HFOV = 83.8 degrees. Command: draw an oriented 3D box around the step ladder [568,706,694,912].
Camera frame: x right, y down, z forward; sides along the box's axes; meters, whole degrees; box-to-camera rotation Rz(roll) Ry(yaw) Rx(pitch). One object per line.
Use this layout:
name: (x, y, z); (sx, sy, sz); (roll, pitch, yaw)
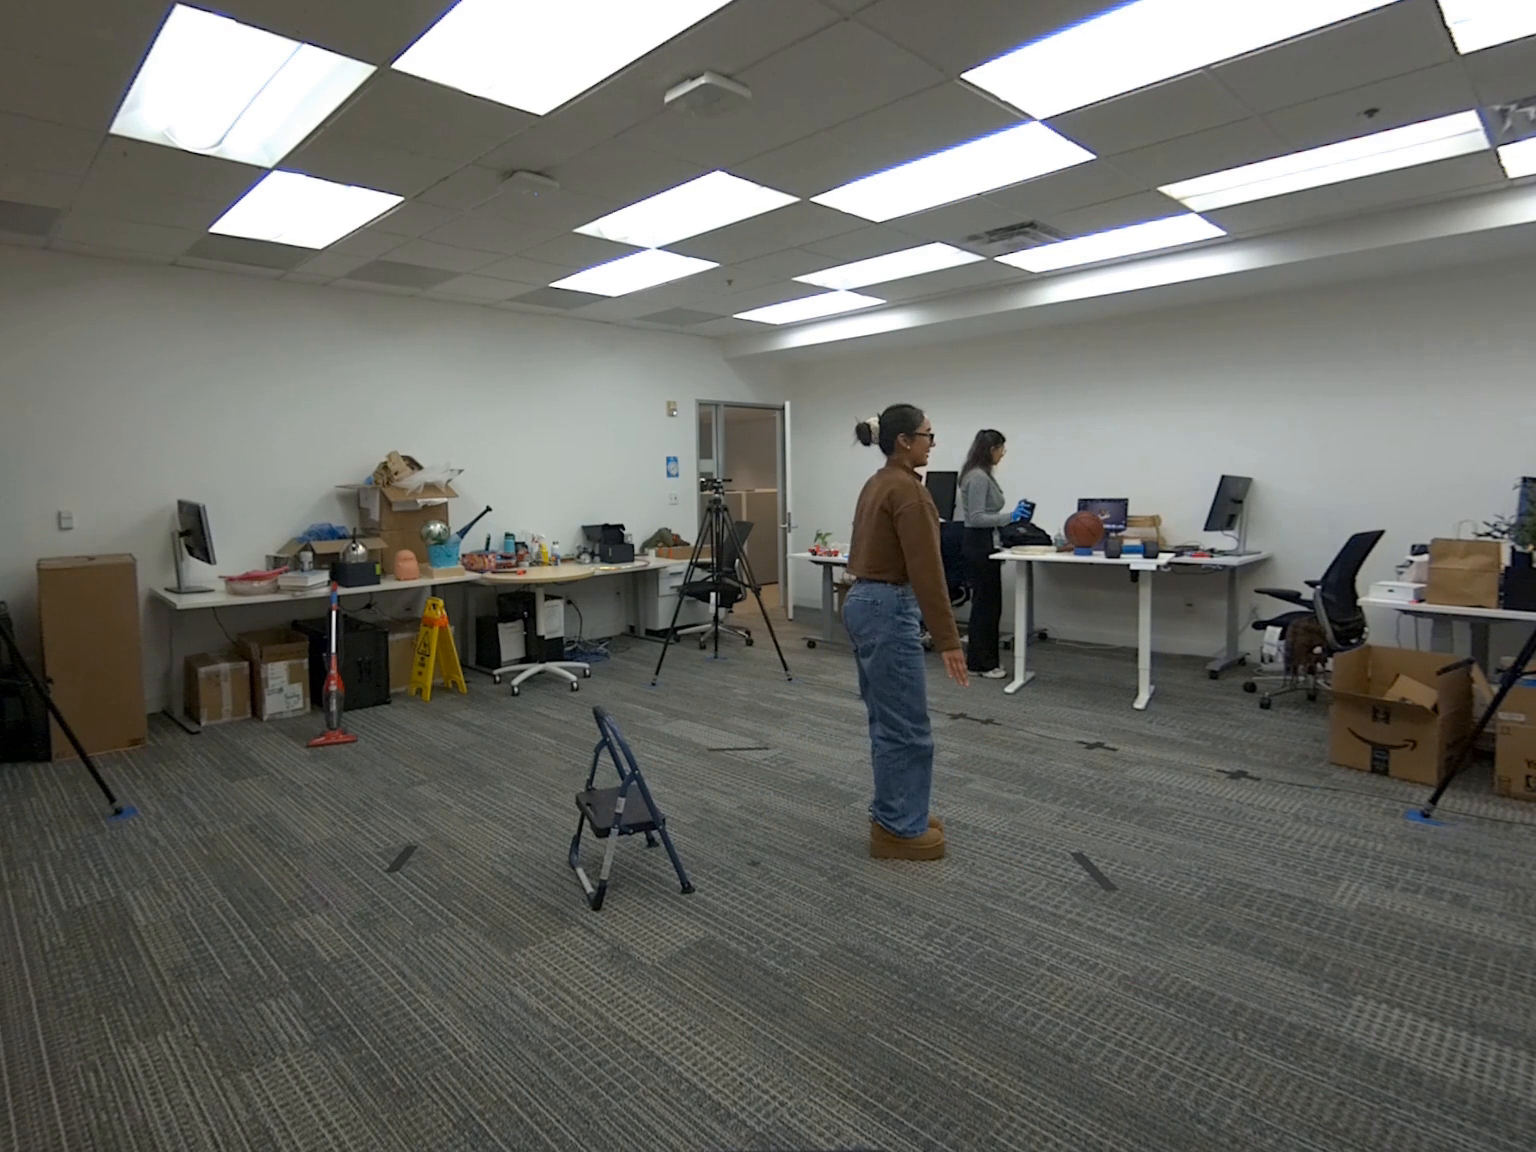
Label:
step ladder: (-0.499, 0.762, 3.009); (0.342, 0.603, 0.441); (-3, 5, -25)
